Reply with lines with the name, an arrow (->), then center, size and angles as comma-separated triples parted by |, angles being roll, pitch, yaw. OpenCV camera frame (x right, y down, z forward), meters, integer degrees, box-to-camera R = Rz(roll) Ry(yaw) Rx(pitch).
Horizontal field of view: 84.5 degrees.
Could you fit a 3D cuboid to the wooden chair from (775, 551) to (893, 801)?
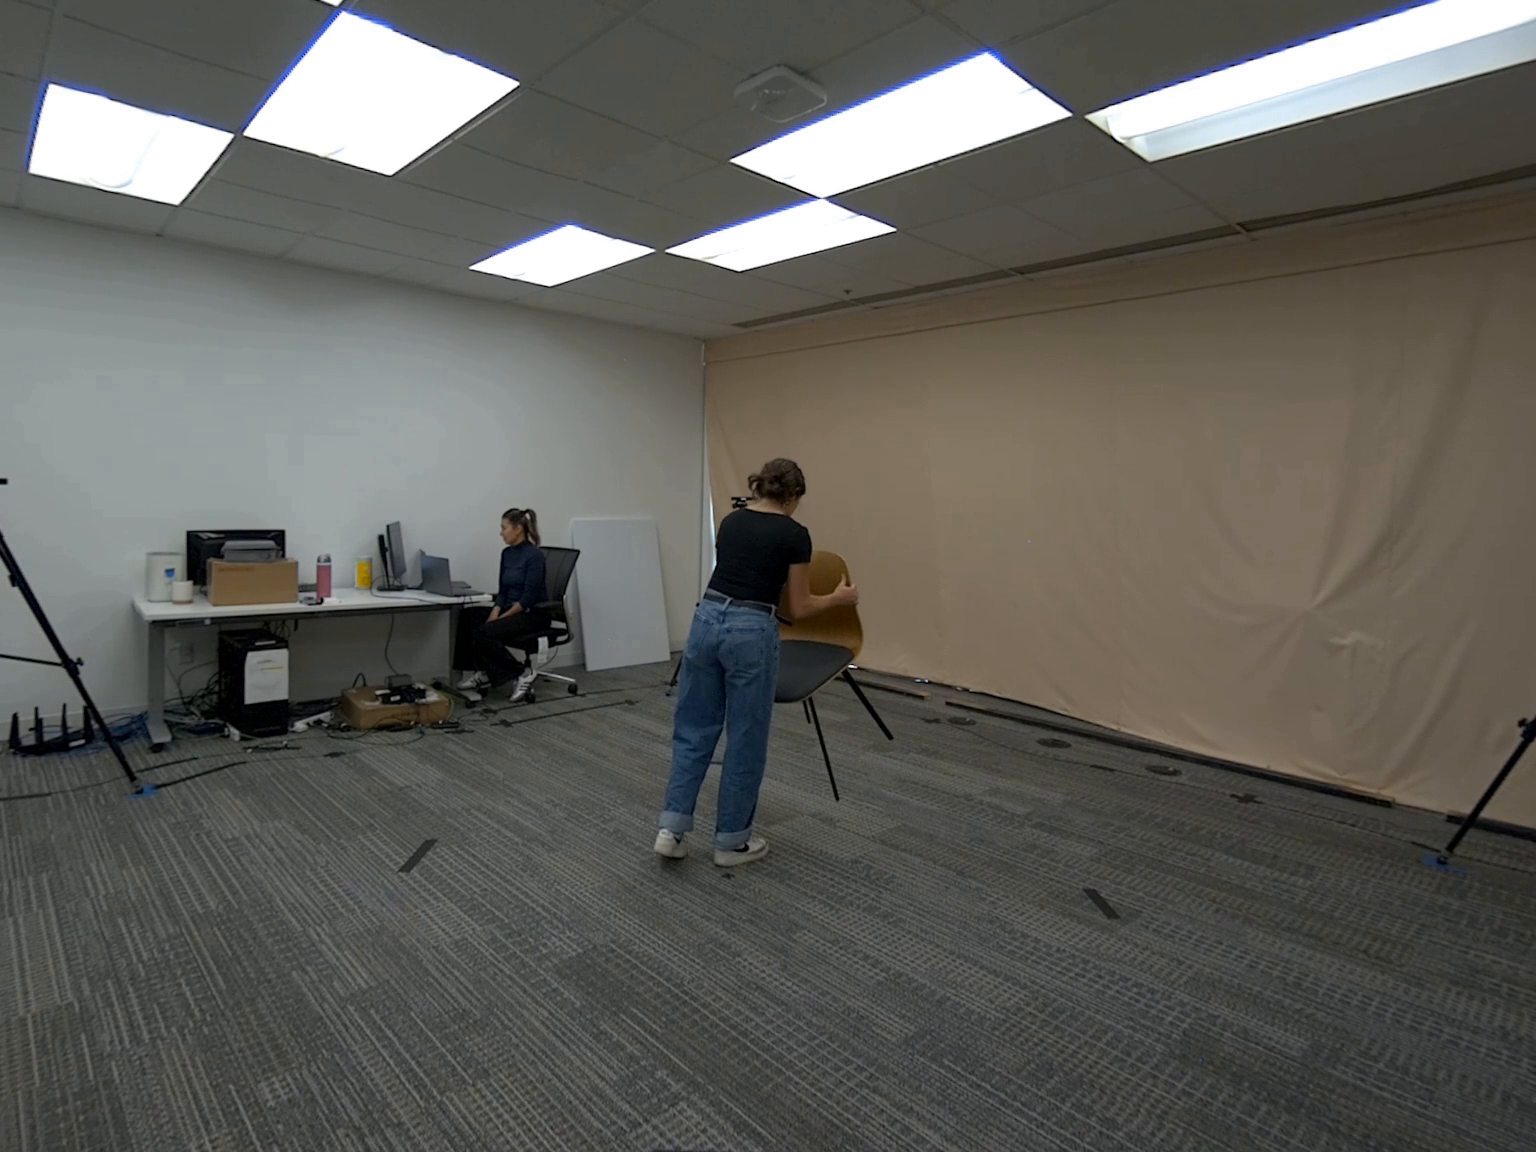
wooden chair -> 0.118, 0.396, 3.451 | 0.490, 0.866, 0.517 | 2, 20, 40
